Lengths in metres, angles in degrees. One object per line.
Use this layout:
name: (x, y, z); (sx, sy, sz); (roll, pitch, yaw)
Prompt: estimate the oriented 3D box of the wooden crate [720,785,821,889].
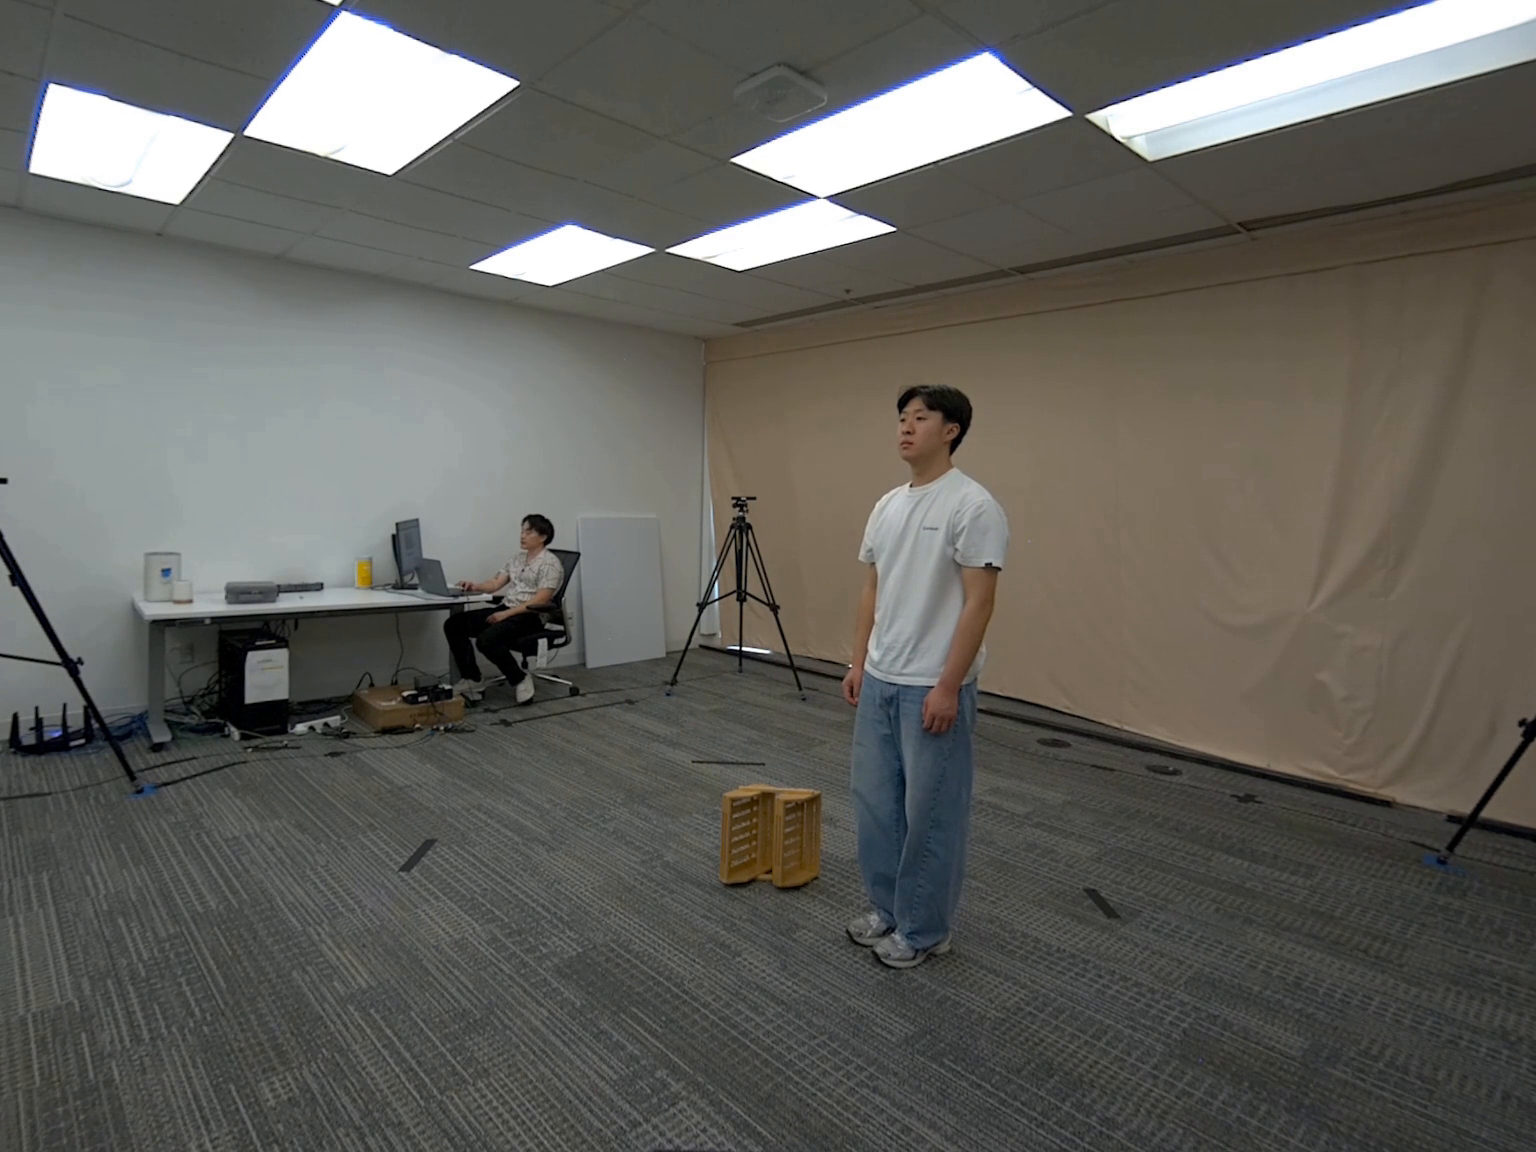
wooden crate: (0.005, 0.945, 3.066); (0.279, 0.325, 0.295); (0, -3, 33)
